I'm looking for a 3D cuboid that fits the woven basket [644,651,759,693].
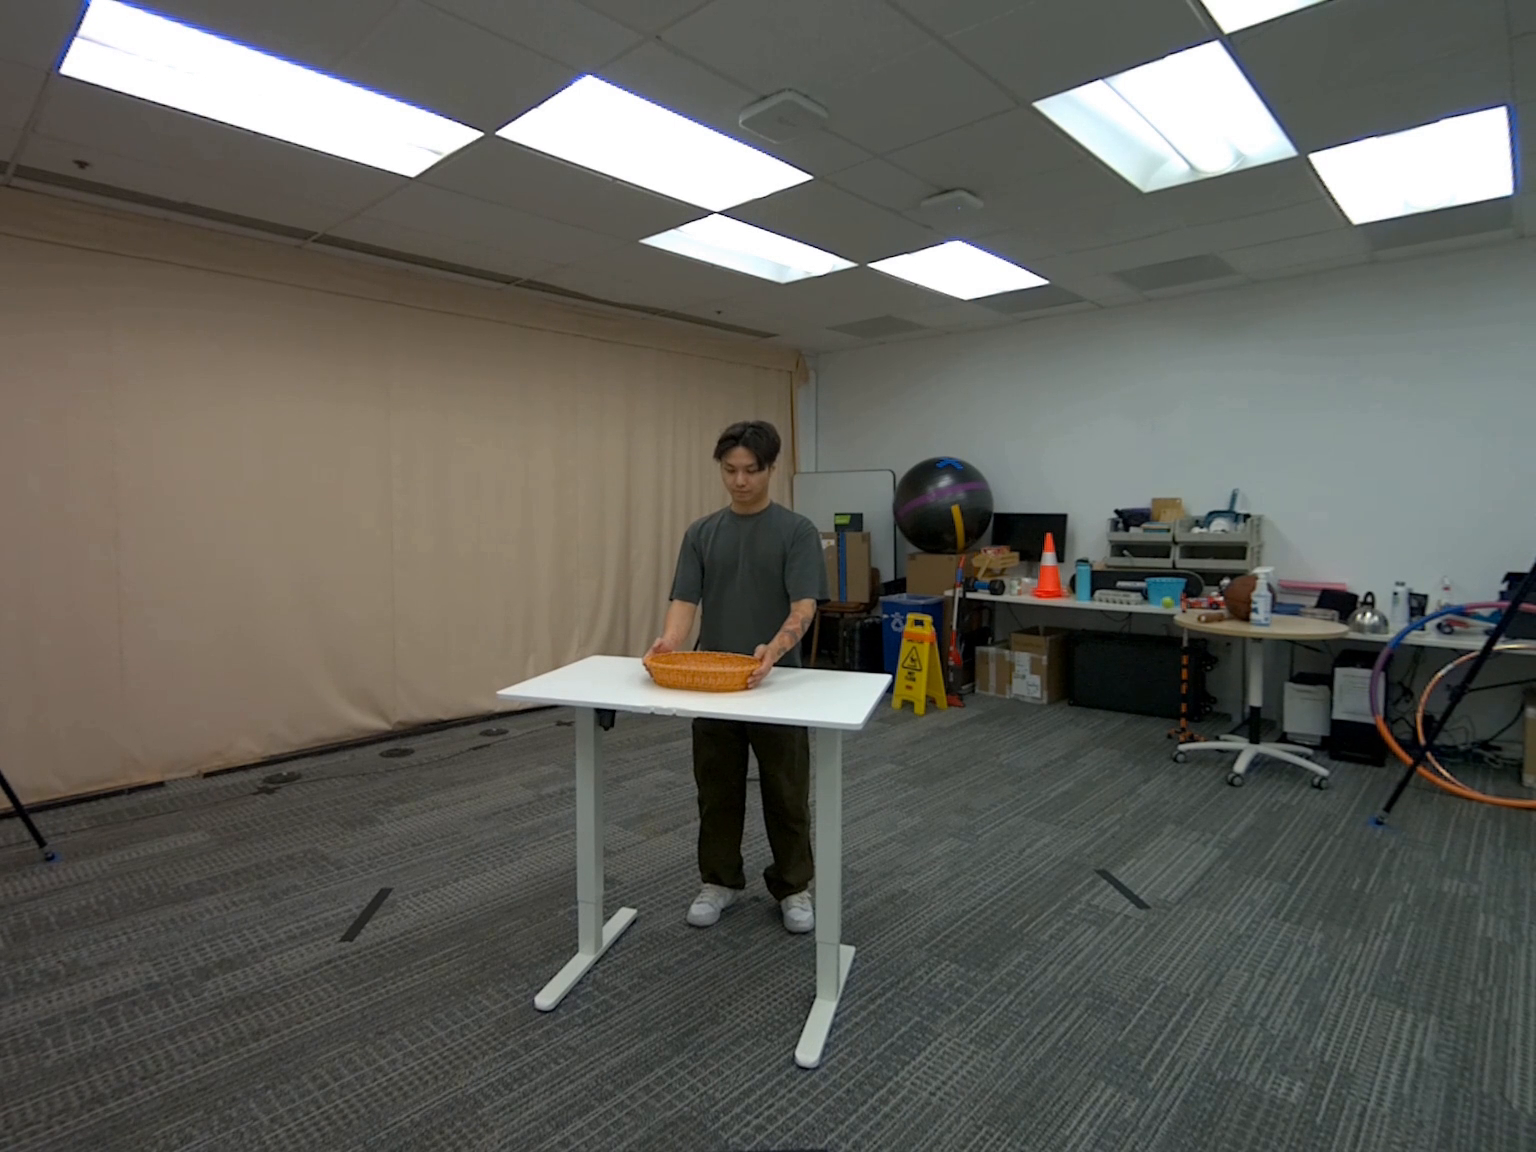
[{"bbox_3d":[-0.186,0.272,2.428,0.358,0.073,0.248,2,7,21],"label":"woven basket"}]
